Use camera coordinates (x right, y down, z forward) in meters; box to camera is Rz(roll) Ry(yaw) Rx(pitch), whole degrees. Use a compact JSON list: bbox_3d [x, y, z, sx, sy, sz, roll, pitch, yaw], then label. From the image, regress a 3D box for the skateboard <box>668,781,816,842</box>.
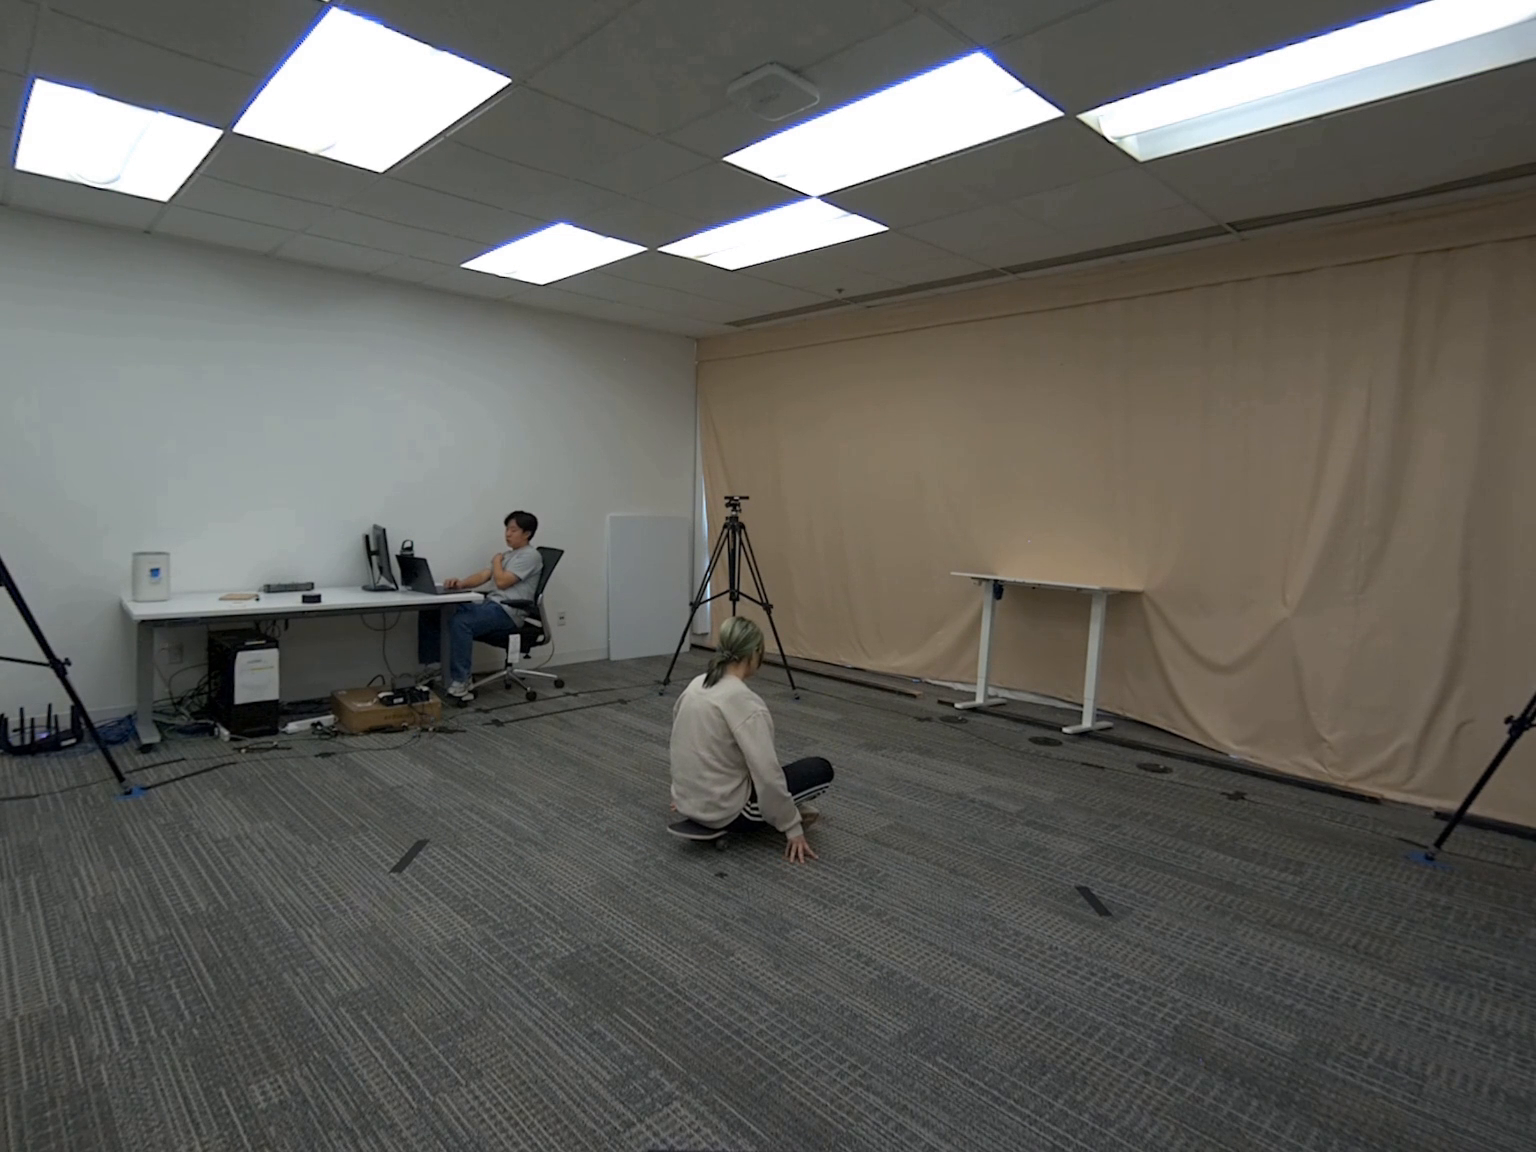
[{"bbox_3d":[-0.123,1.018,3.530,0.198,0.110,0.769,2,5,34],"label":"skateboard"}]
